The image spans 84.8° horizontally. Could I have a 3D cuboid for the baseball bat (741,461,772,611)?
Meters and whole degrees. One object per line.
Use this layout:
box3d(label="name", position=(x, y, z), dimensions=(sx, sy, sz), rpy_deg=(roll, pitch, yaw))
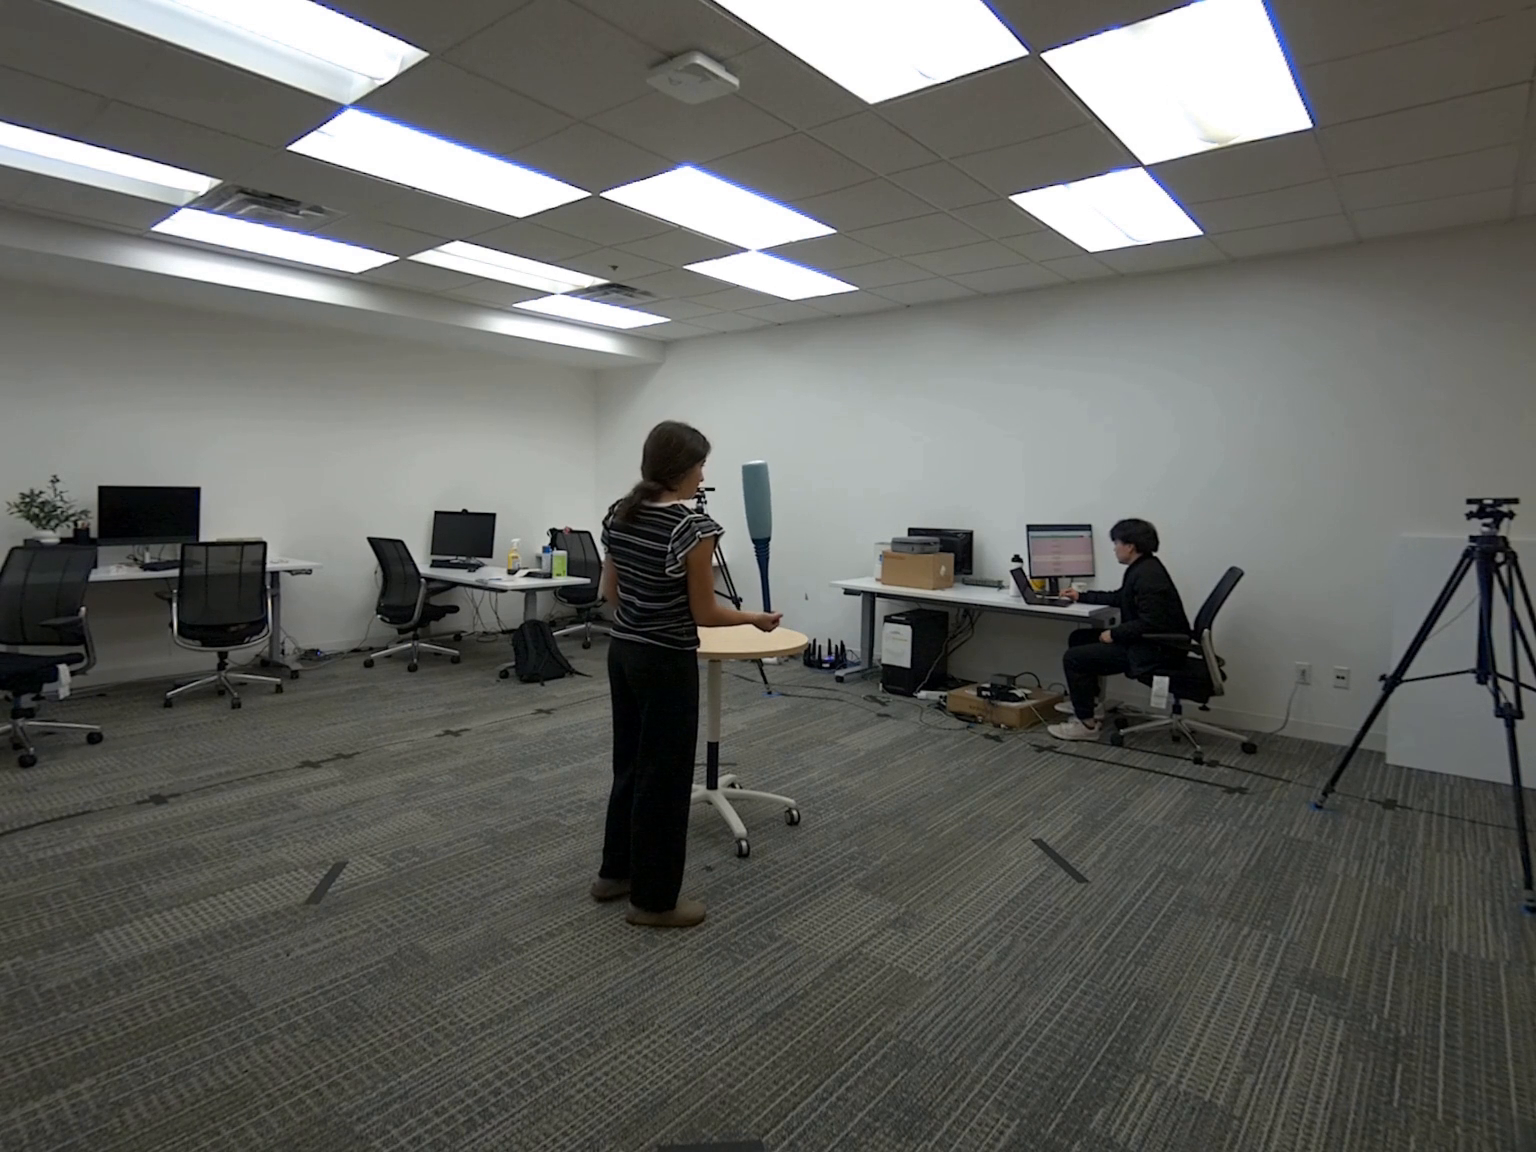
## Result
box3d(label="baseball bat", position=(-0.032, -0.108, 2.798), dimensions=(0.089, 0.538, 0.090), rpy_deg=(-6, 8, -1))
